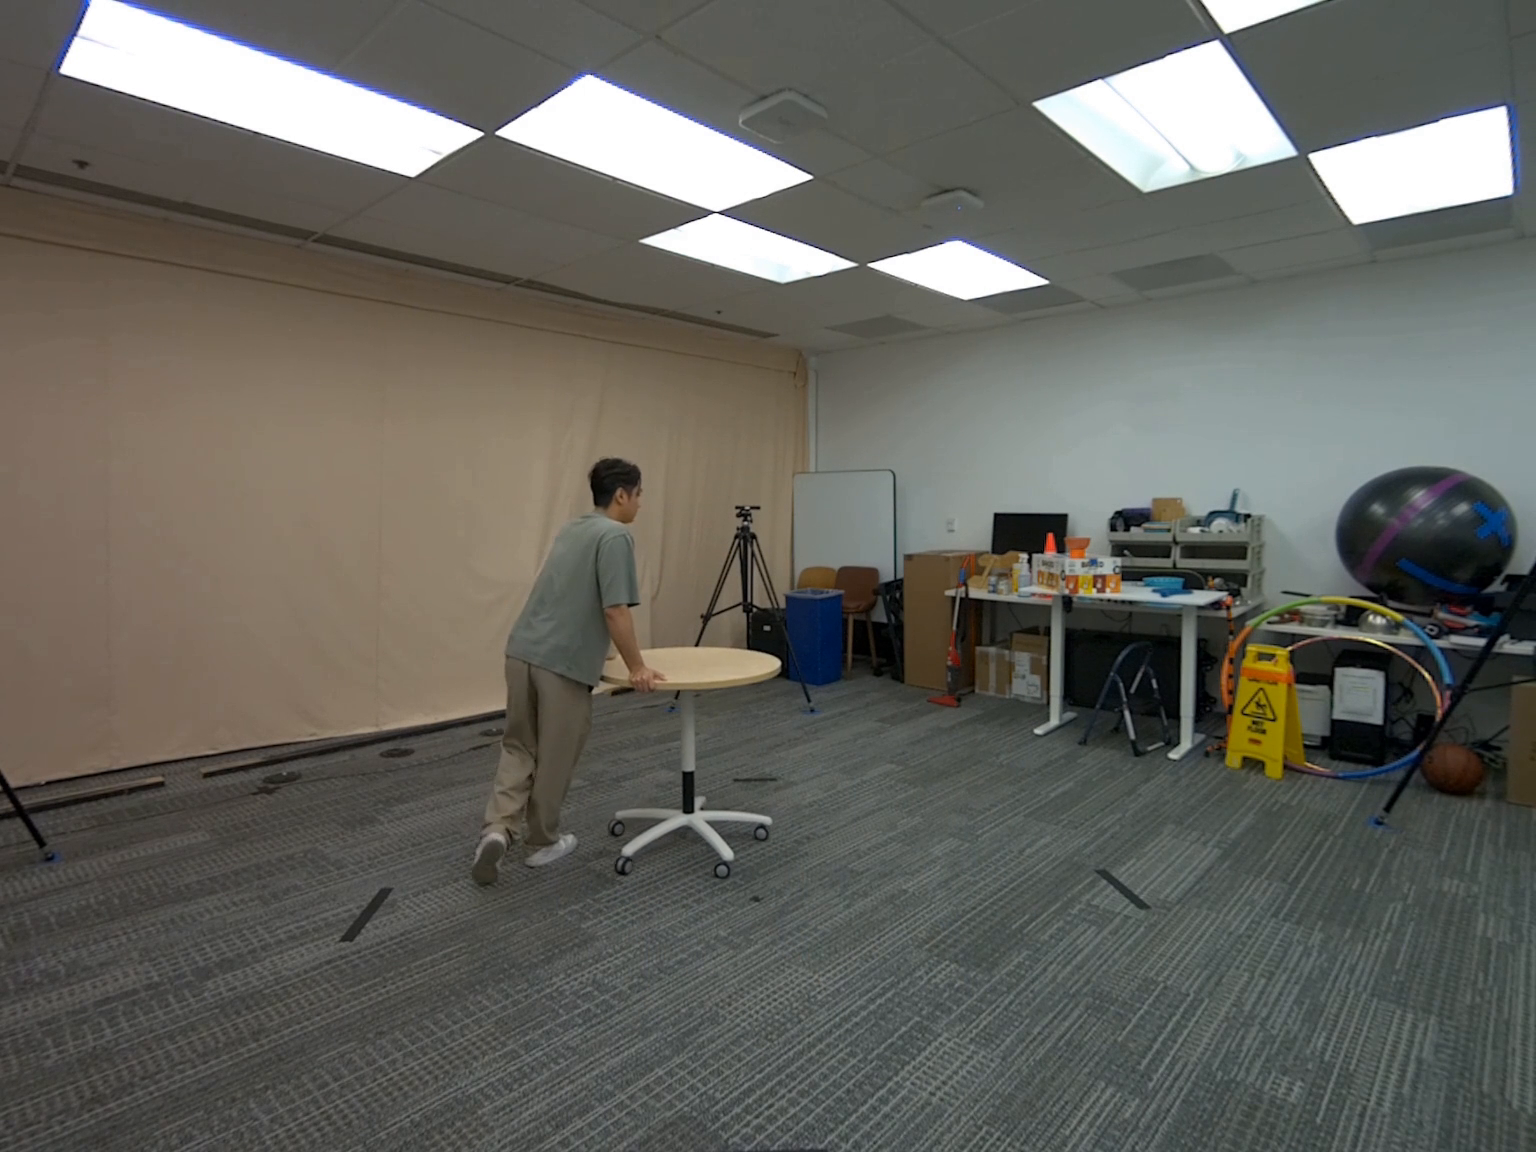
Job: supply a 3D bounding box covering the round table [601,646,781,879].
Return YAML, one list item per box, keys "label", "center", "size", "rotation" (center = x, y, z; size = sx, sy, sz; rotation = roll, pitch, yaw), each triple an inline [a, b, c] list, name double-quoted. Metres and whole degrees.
- label: "round table"
  center: [-0.323, 0.730, 3.418]
  size: [0.784, 0.785, 0.788]
  rotation: [-1, 3, -2]
